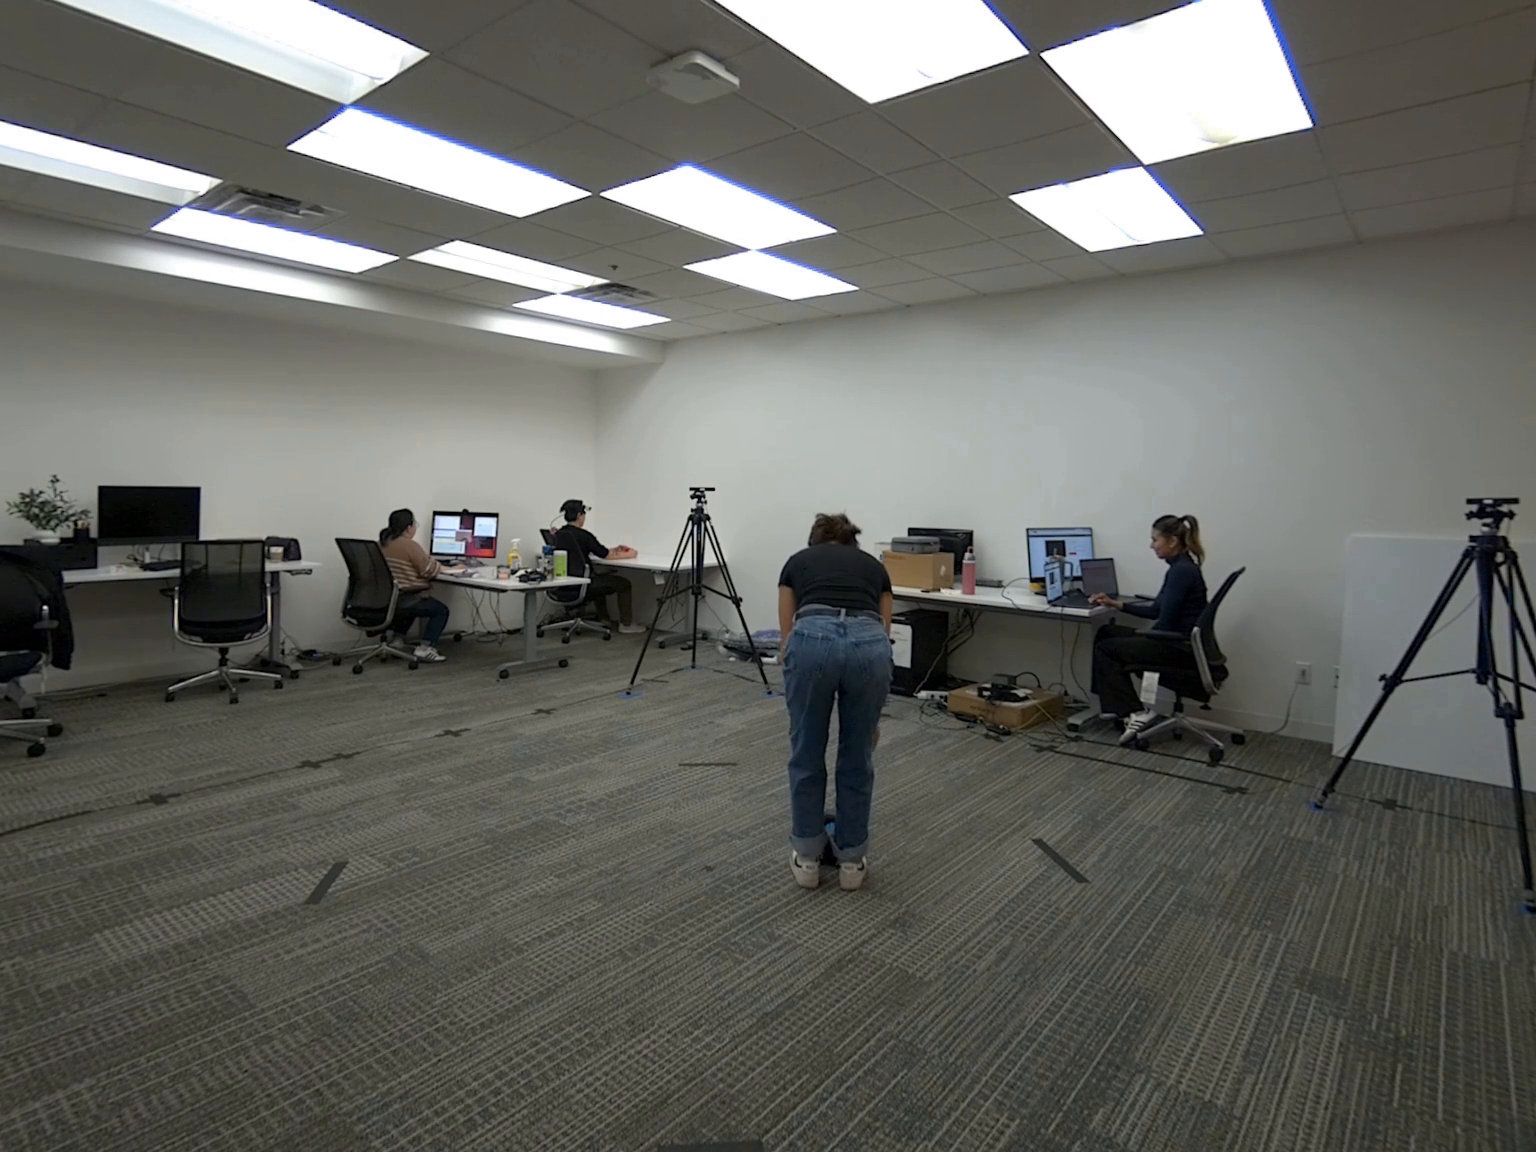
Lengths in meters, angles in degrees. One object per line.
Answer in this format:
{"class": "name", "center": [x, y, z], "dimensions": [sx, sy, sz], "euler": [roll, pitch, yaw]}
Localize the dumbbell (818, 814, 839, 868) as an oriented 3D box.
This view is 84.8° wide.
{"class": "dumbbell", "center": [0.240, 1.005, 3.302], "dimensions": [0.110, 0.122, 0.291], "euler": [31, 9, 6]}
